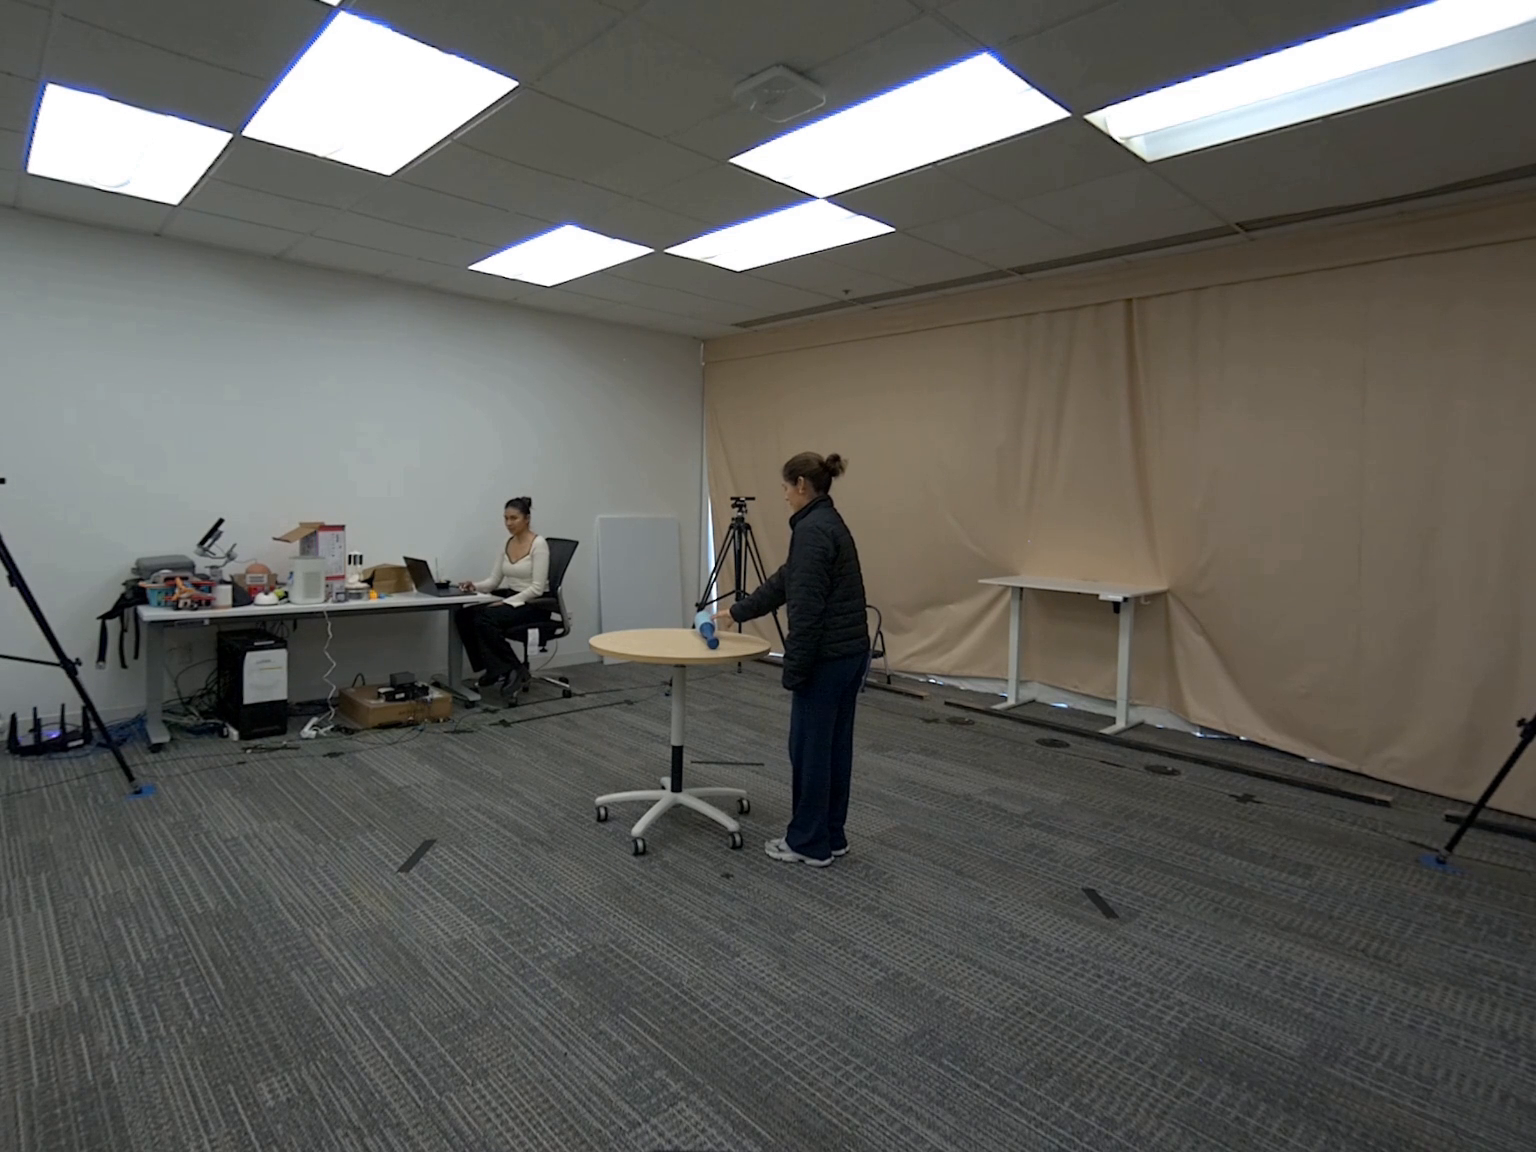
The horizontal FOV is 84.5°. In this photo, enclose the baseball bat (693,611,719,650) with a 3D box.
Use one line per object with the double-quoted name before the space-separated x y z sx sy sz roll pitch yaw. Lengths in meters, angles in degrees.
"baseball bat" -0.258 0.239 3.634 0.088 0.088 0.550 1 8 -11
